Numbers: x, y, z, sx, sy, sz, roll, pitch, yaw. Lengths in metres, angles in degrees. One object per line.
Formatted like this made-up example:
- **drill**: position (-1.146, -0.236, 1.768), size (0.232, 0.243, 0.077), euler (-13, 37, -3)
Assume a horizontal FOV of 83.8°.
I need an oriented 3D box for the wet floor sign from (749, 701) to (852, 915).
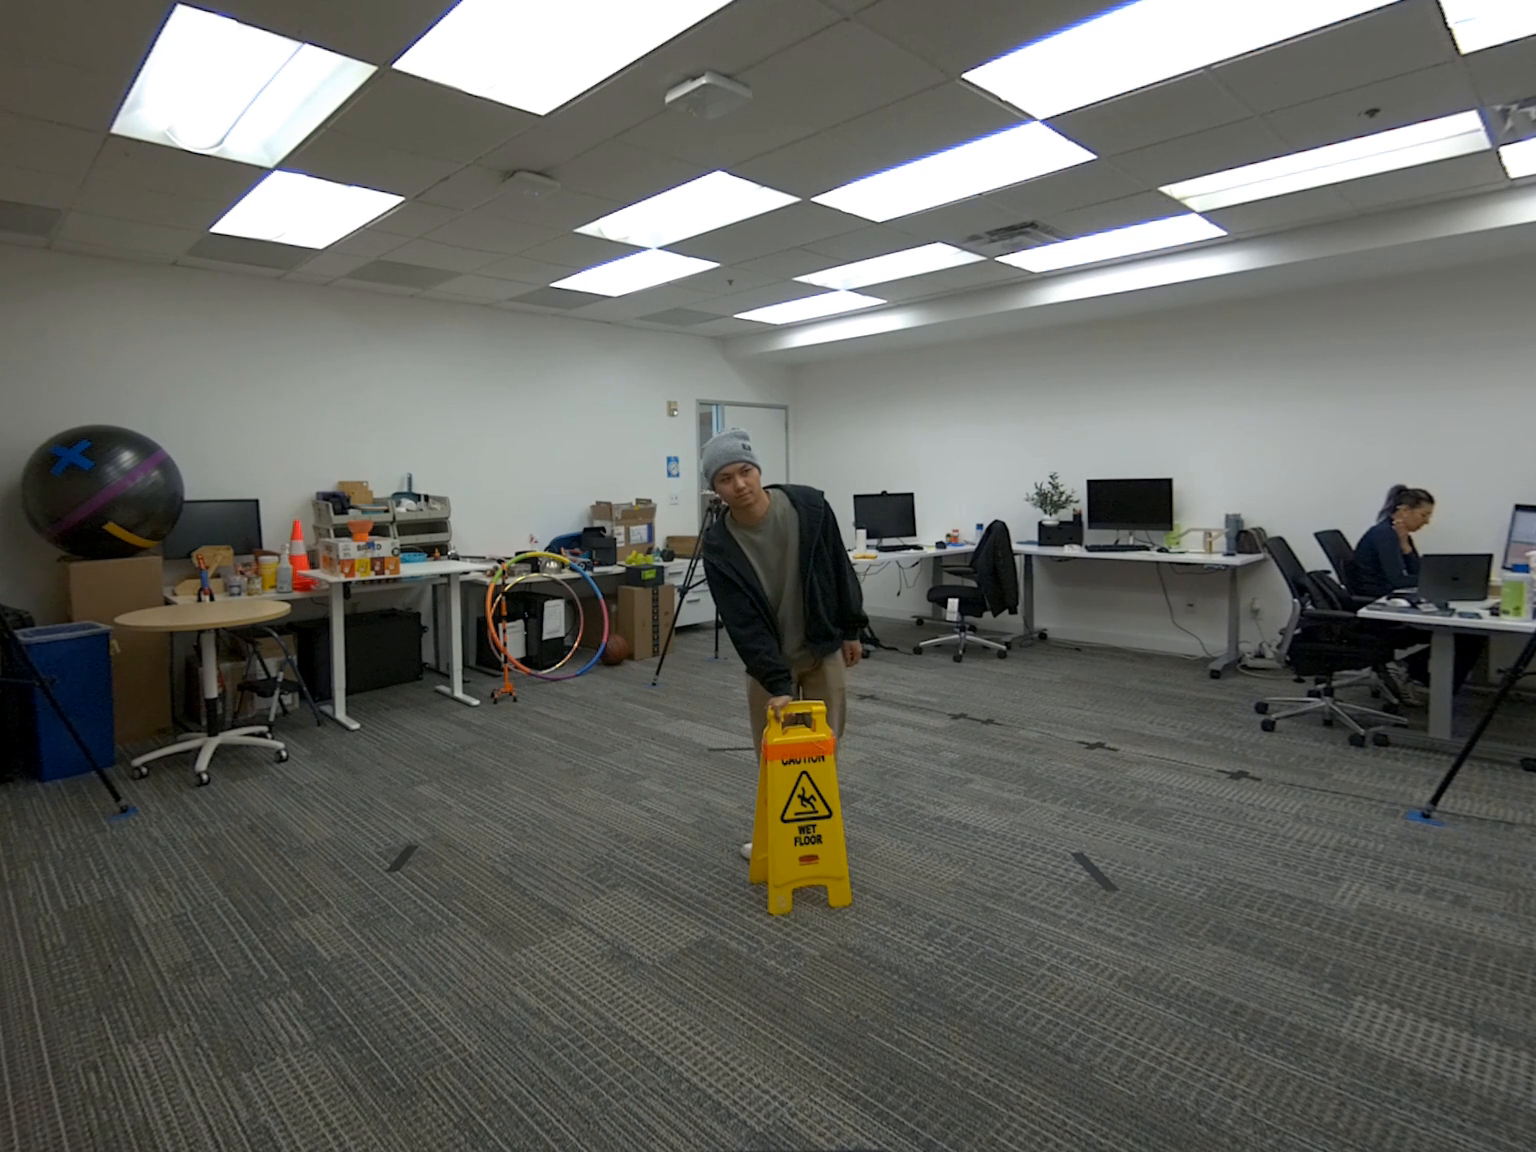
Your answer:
- **wet floor sign**: position (0.100, 0.743, 2.857), size (0.278, 0.642, 0.295), euler (-3, 6, -16)
